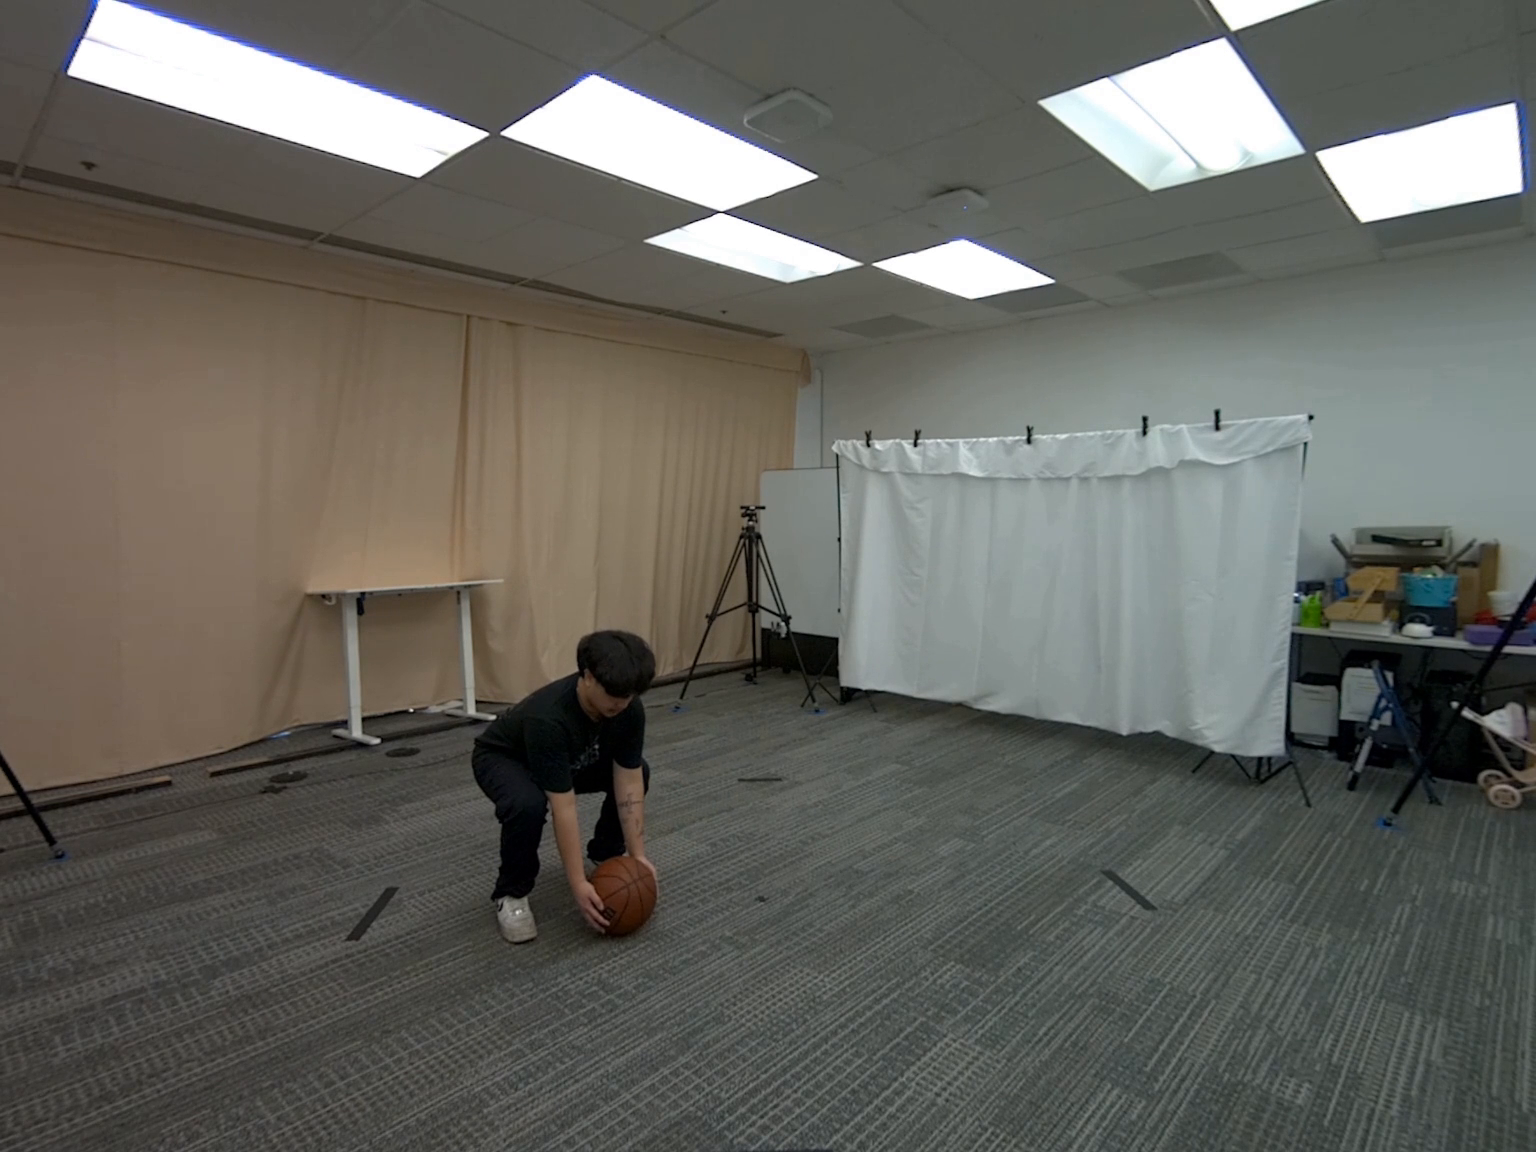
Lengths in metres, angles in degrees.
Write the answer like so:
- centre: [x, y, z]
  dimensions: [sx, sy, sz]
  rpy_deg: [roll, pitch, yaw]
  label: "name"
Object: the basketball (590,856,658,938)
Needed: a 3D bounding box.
- centre: [-0.481, 1.047, 2.757]
  dimensions: [0.236, 0.235, 0.237]
  rpy_deg: [0, 4, -2]
  label: "basketball"
